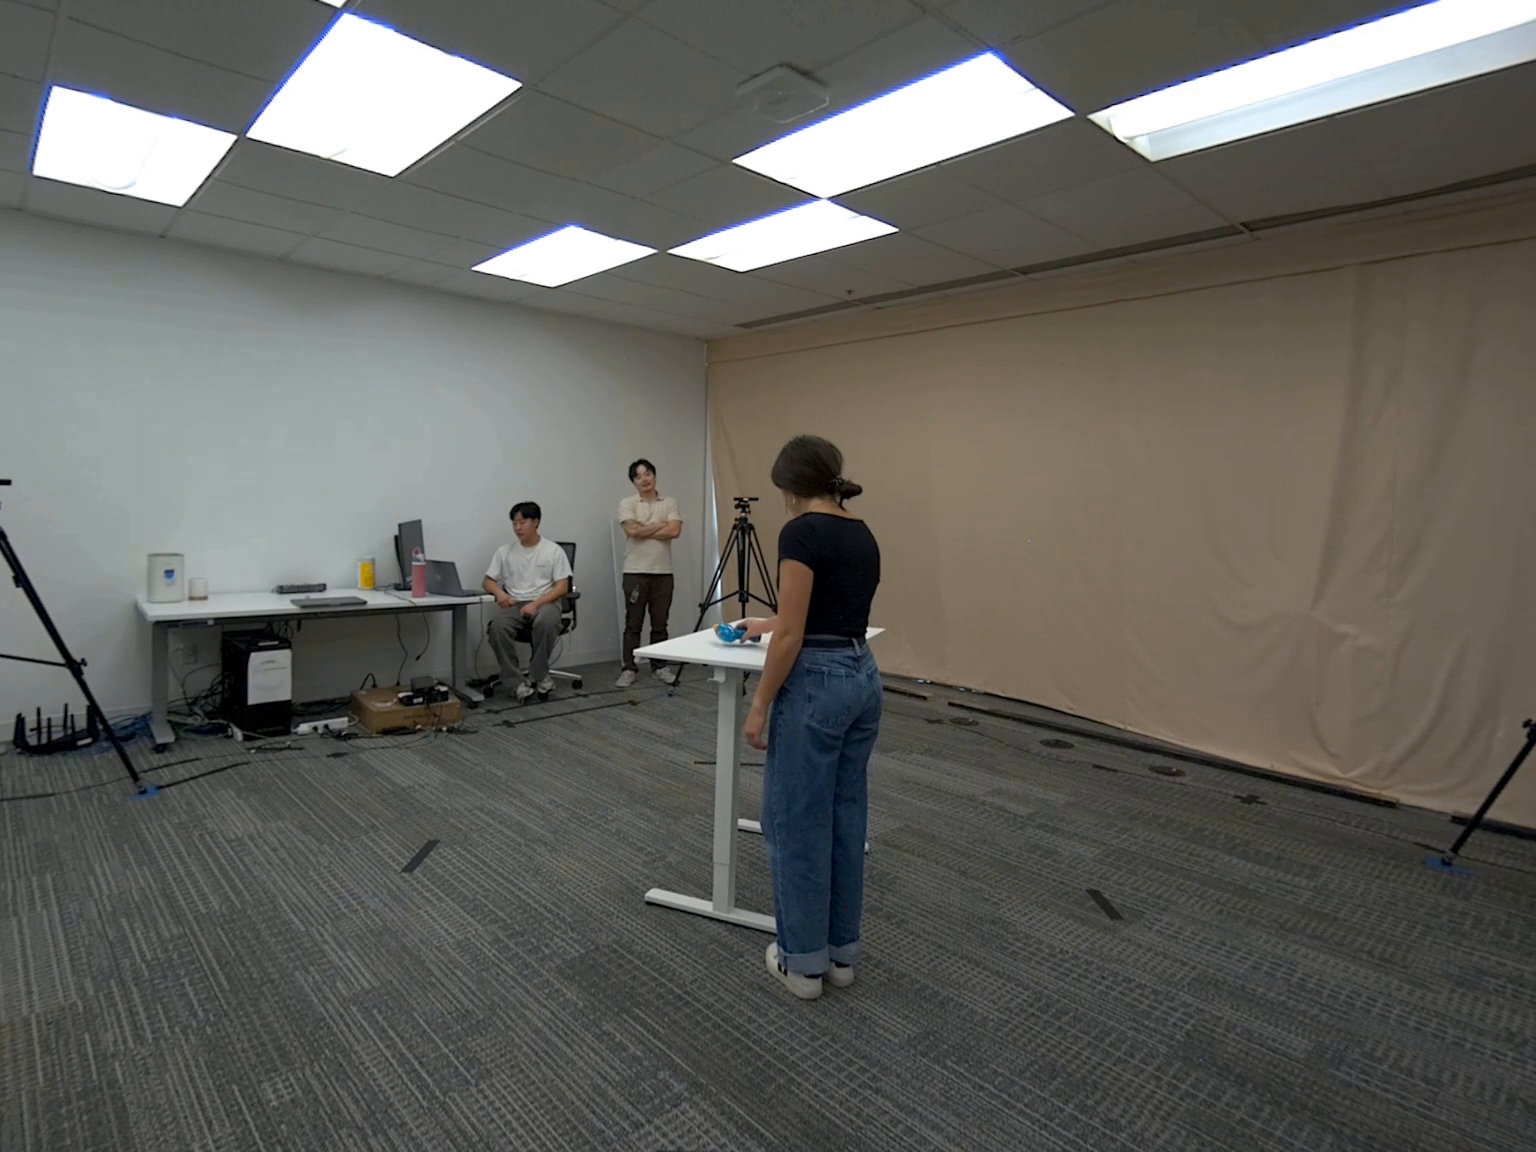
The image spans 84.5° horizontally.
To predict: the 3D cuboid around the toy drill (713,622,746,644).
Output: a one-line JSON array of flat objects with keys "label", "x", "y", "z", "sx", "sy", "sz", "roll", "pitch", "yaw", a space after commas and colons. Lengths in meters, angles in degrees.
[{"label": "toy drill", "x": -0.120, "y": 0.199, "z": 2.953, "sx": 0.143, "sy": 0.061, "sz": 0.173, "roll": 2, "pitch": 6, "yaw": -27}]
